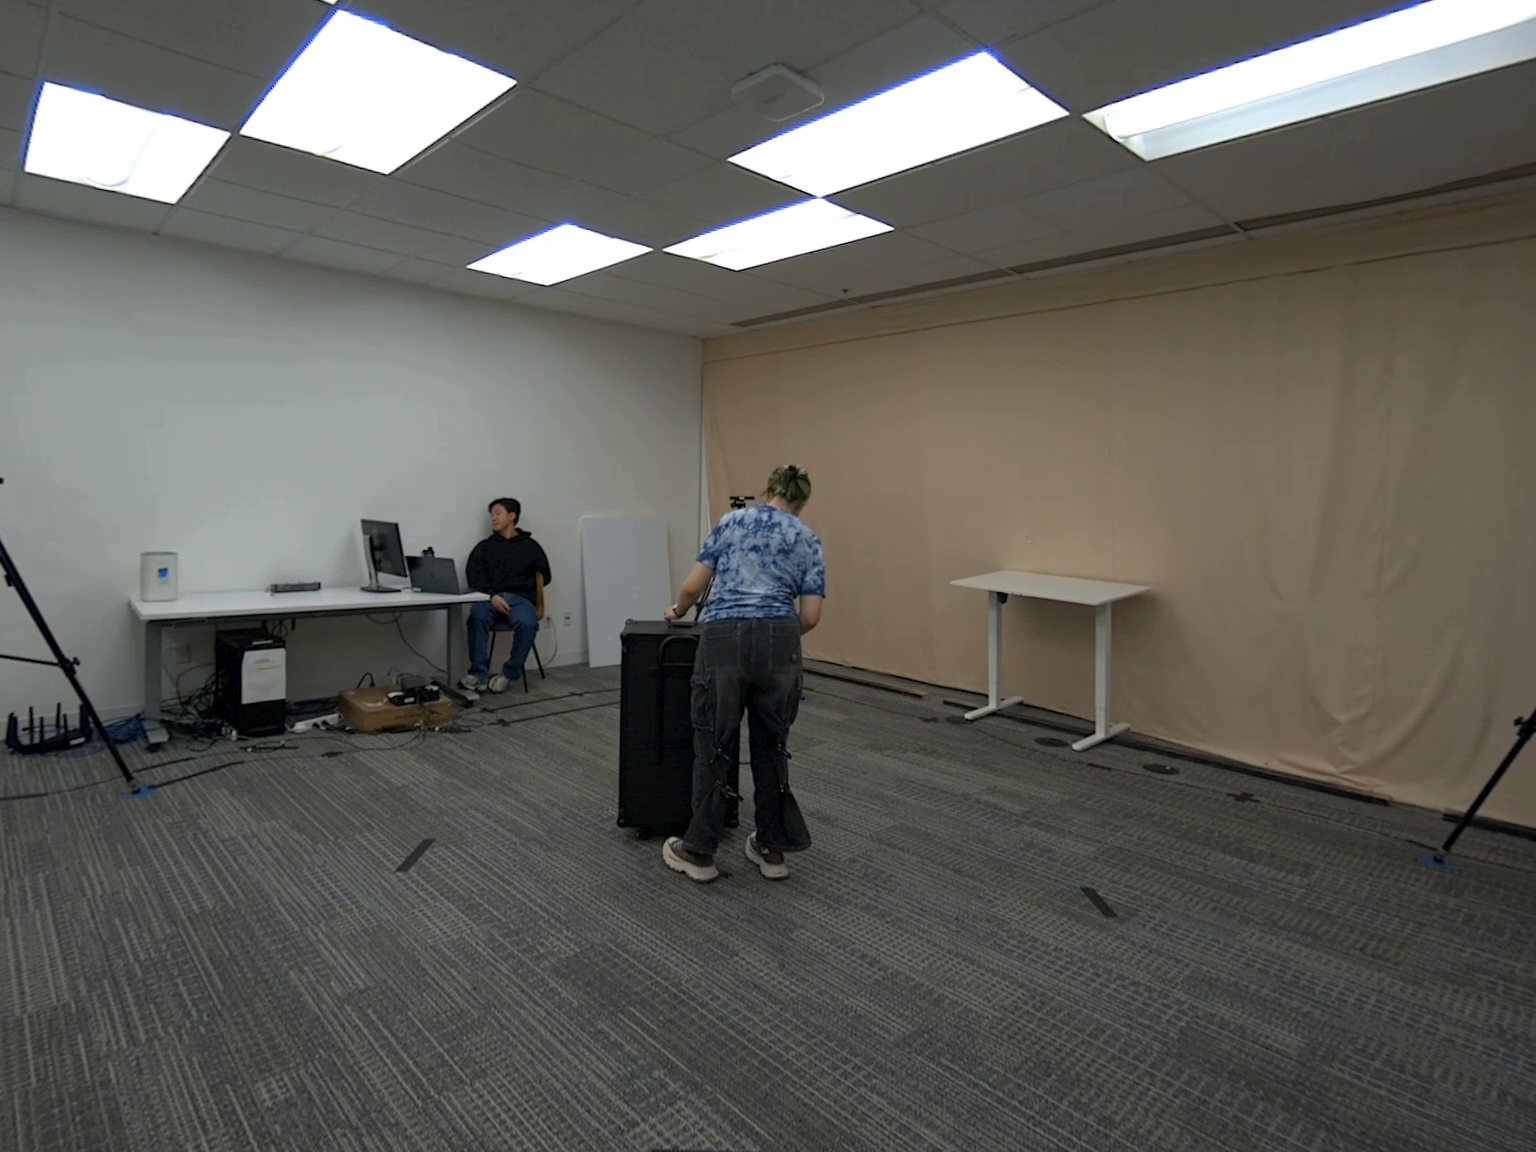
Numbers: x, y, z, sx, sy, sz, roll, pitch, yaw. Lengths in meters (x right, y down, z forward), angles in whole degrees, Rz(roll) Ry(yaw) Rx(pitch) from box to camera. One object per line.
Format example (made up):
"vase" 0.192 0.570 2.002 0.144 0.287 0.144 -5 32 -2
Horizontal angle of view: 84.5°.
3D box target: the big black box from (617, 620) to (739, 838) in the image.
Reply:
"big black box" -0.373 0.644 3.513 0.520 0.859 0.398 2 4 -4
